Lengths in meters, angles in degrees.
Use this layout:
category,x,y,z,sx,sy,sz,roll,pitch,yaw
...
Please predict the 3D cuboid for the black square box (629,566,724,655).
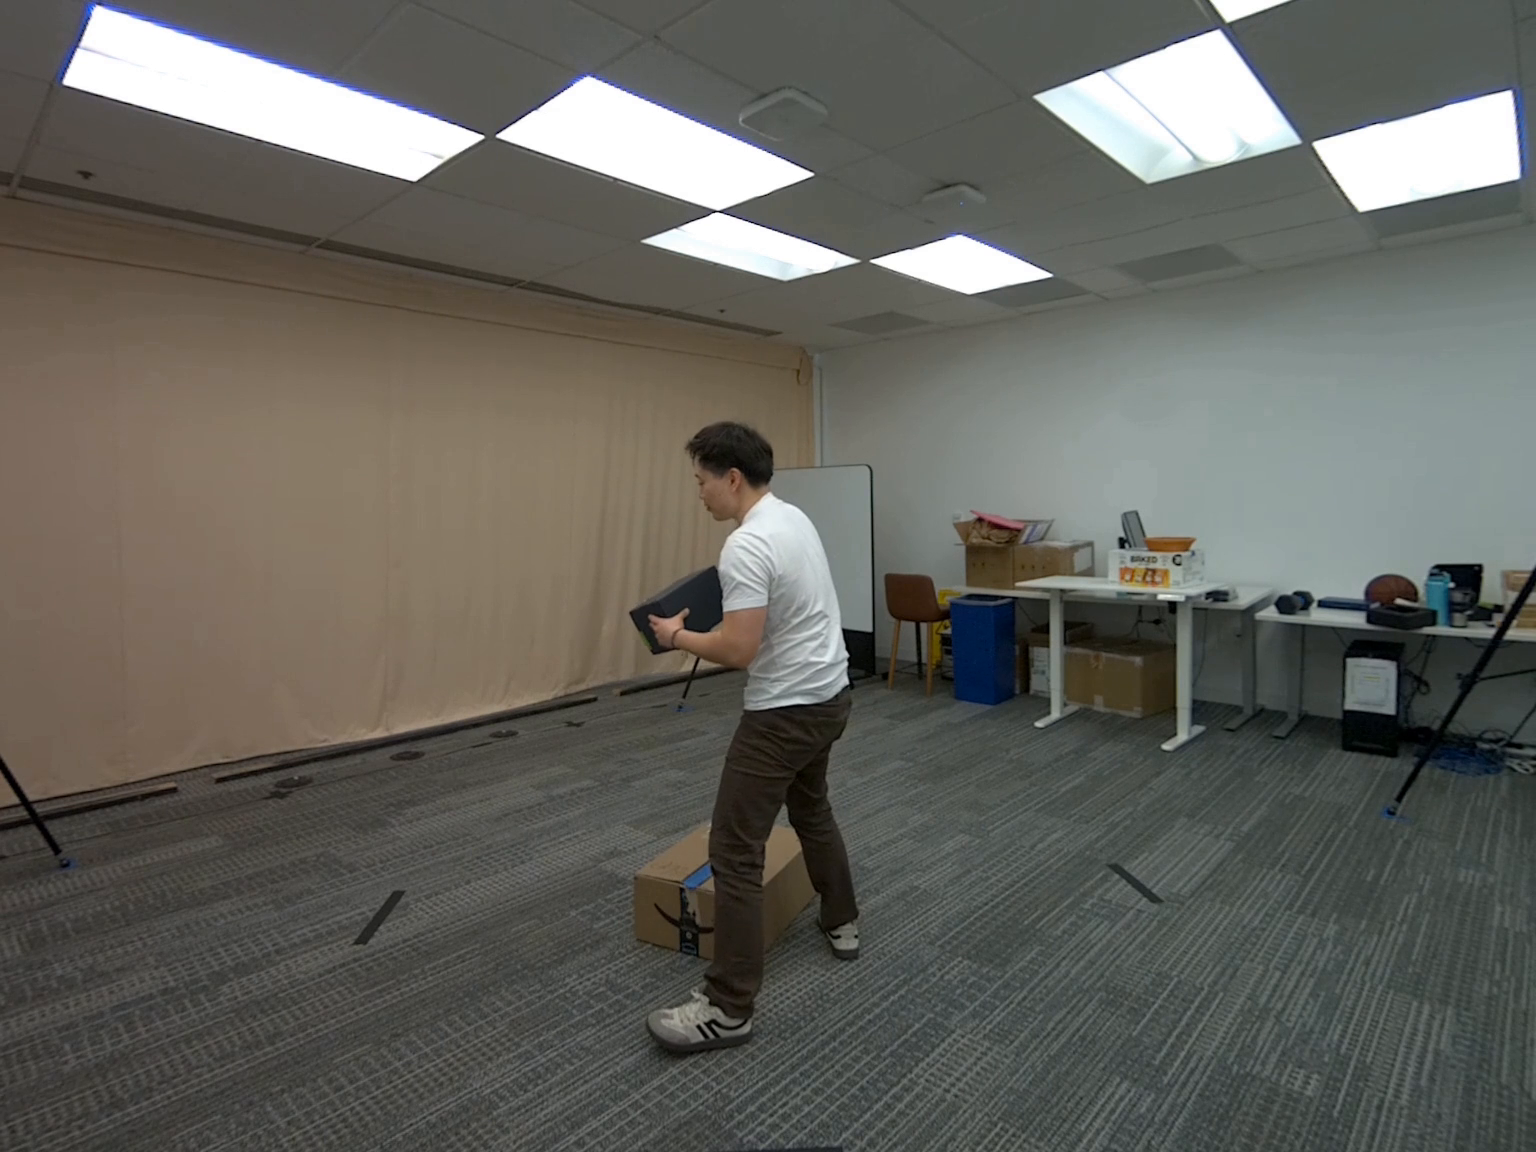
category,x,y,z,sx,sy,sz,roll,pitch,yaw
black square box,-0.261,0.106,2.527,0.224,0.155,0.221,-32,6,-32
